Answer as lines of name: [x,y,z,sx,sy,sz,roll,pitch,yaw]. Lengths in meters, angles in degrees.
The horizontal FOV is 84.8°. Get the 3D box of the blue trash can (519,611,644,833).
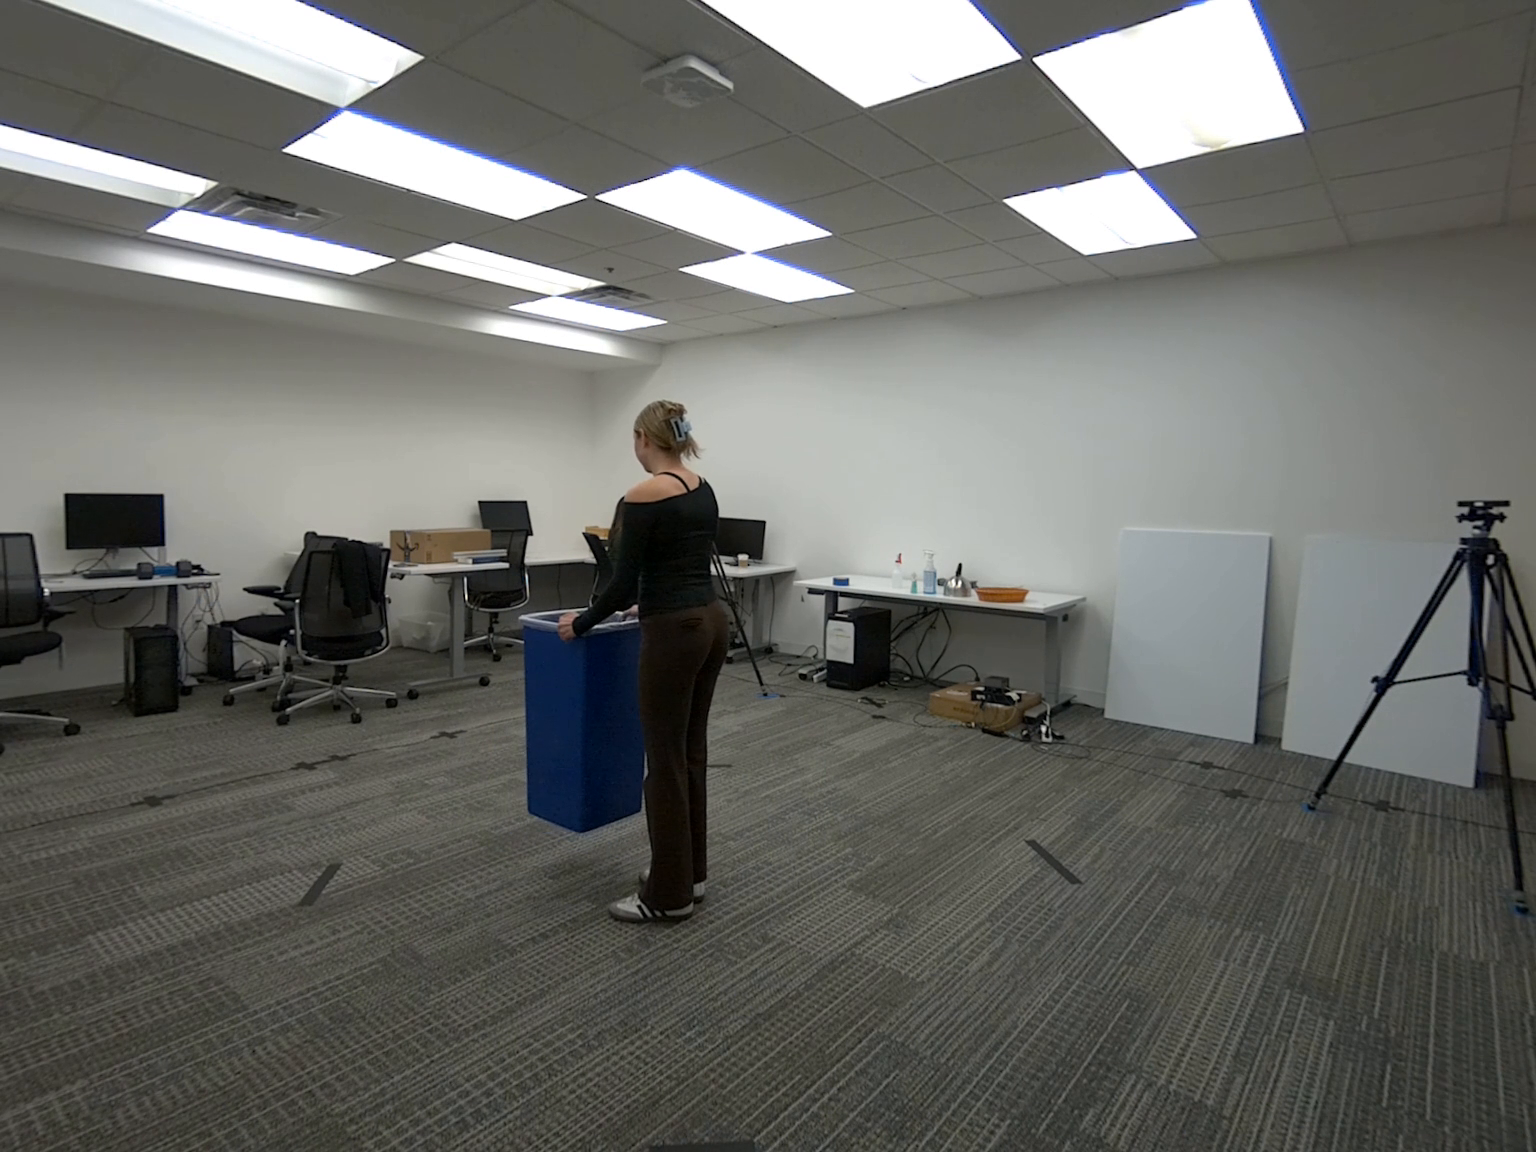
blue trash can: [-0.677,0.510,3.073,0.390,0.712,0.363,3,2,37]
